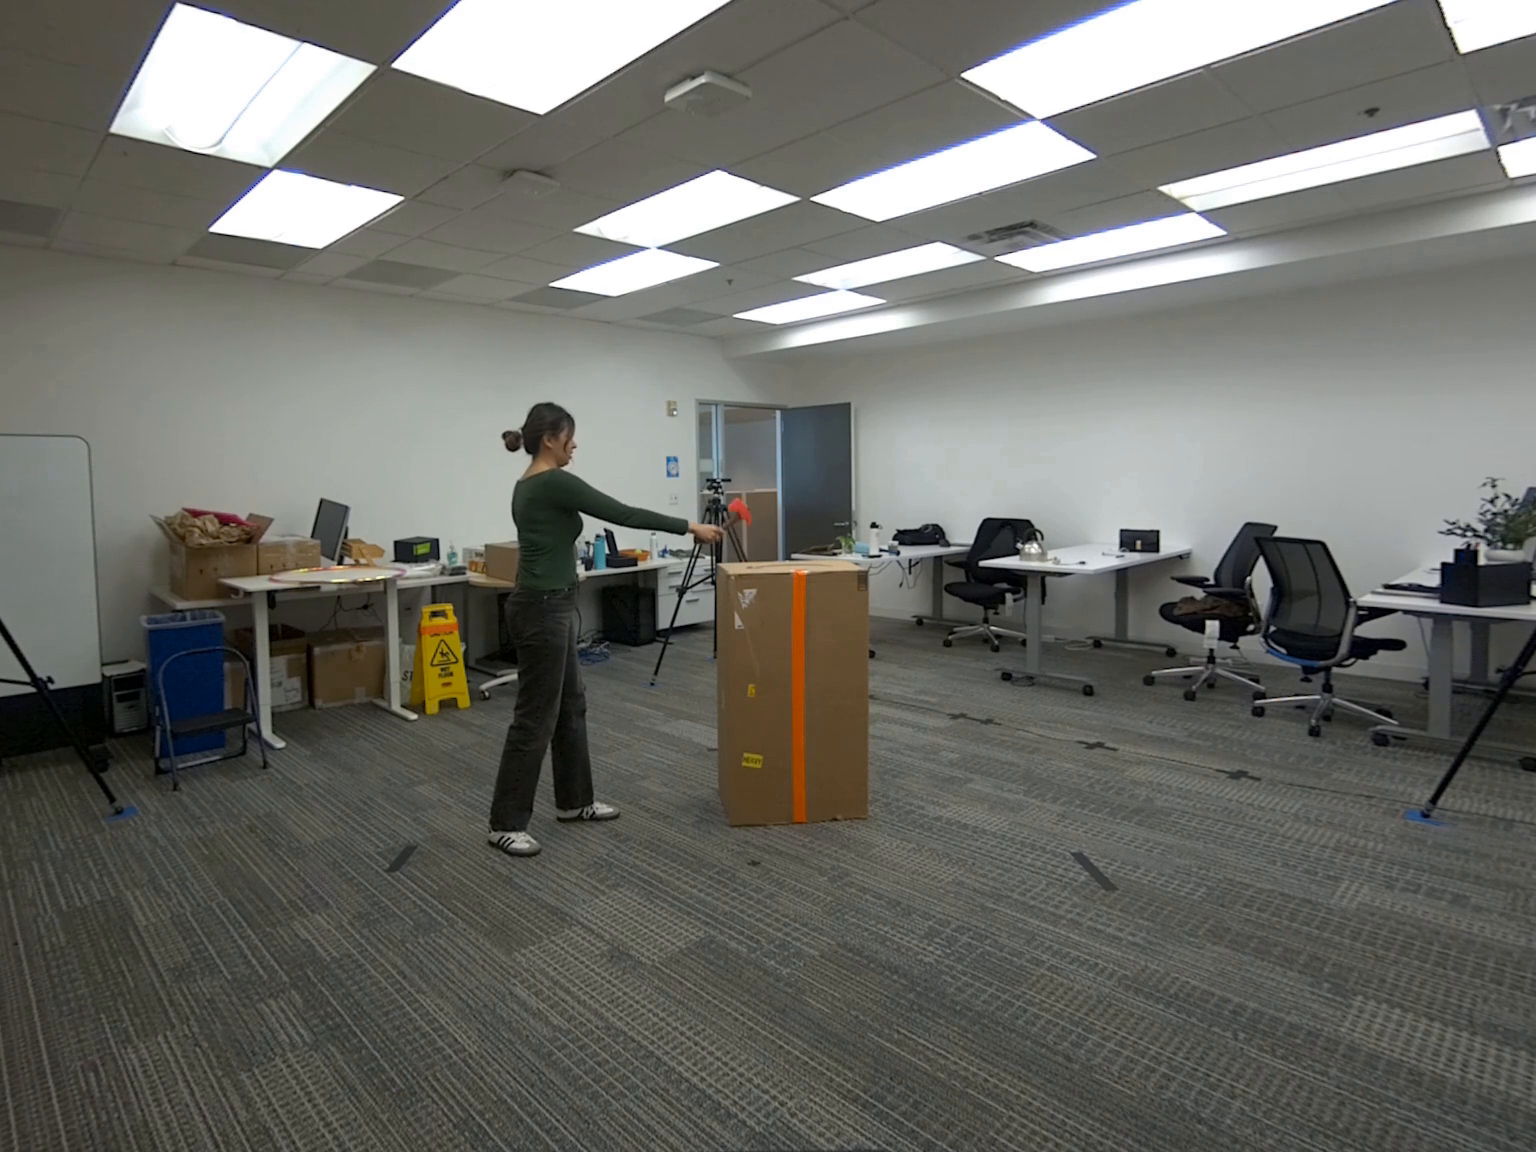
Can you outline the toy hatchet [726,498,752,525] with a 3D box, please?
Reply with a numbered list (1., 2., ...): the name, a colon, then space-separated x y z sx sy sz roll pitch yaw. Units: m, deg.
1. toy hatchet: -0.198 -0.232 3.403 0.266 0.128 0.030 -20 21 -24
